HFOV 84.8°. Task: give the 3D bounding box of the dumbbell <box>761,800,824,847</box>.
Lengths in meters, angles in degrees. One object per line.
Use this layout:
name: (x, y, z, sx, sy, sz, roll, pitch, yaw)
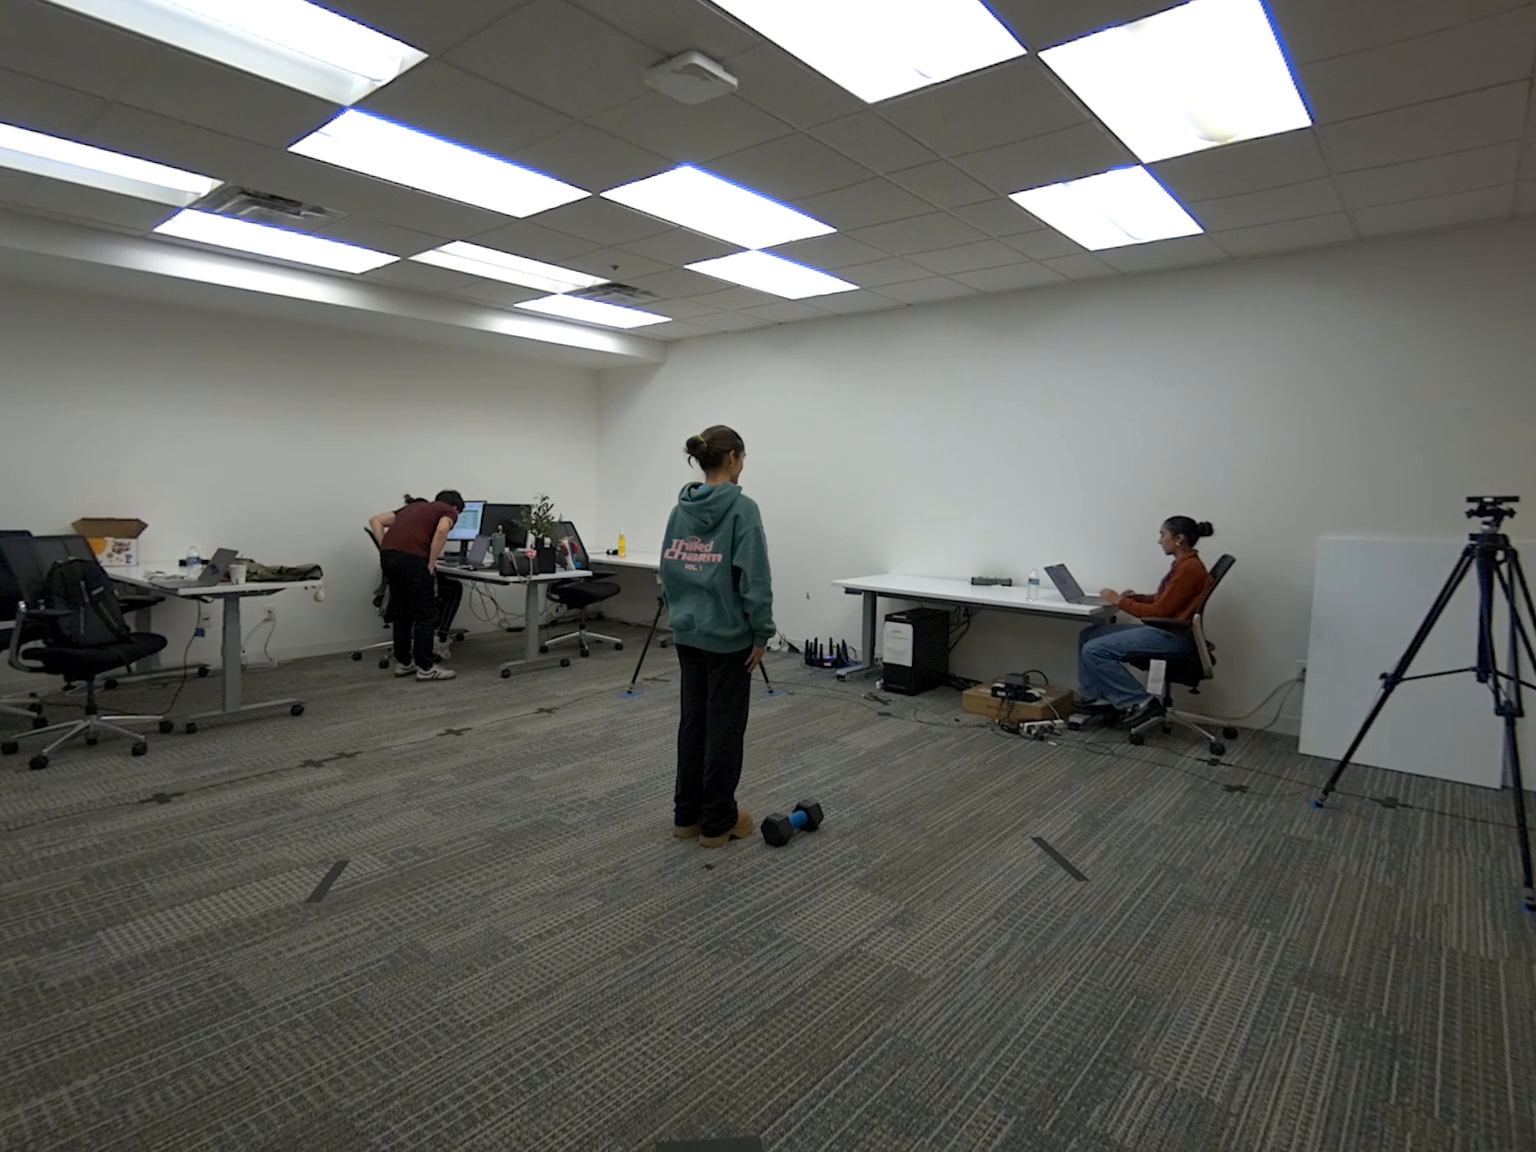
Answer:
dumbbell: (0.092, 0.990, 3.417, 0.113, 0.122, 0.285, 41, 28, 30)
